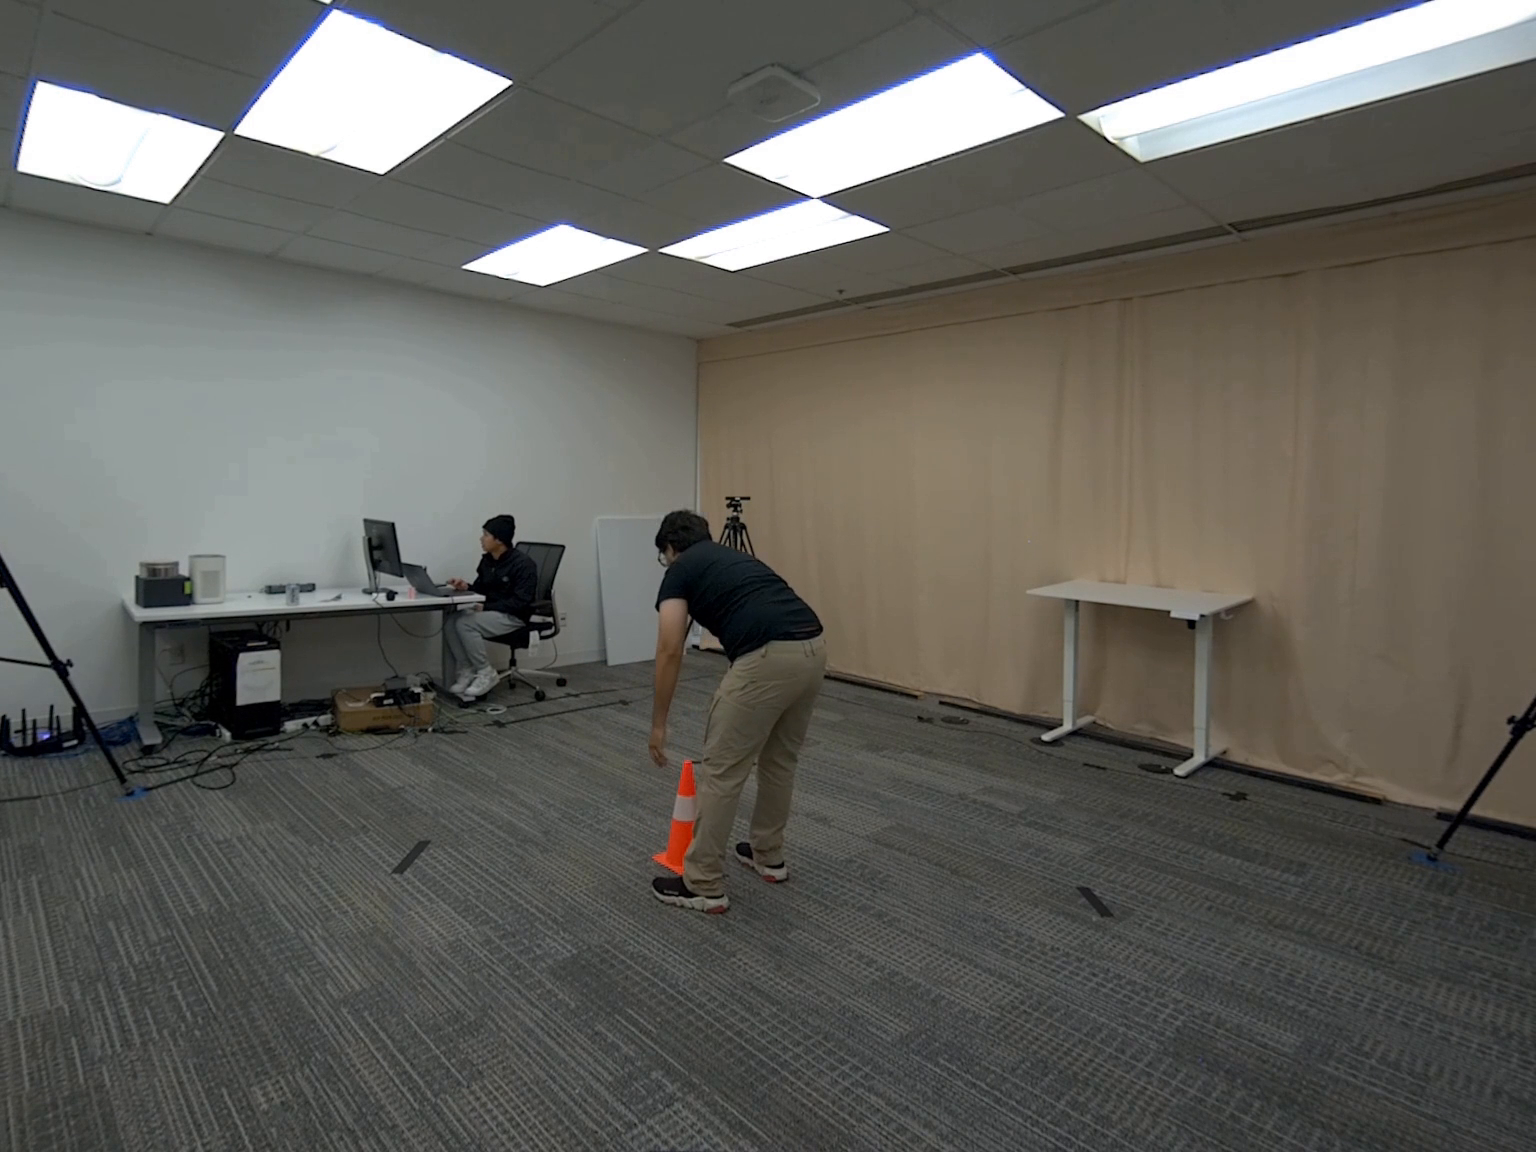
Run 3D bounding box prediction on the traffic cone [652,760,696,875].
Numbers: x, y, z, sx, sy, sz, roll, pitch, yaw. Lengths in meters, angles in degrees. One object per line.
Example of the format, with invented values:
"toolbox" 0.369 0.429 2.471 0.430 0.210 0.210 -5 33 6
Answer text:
"traffic cone" -0.321 0.907 3.229 0.201 0.383 0.208 -1 3 -32
